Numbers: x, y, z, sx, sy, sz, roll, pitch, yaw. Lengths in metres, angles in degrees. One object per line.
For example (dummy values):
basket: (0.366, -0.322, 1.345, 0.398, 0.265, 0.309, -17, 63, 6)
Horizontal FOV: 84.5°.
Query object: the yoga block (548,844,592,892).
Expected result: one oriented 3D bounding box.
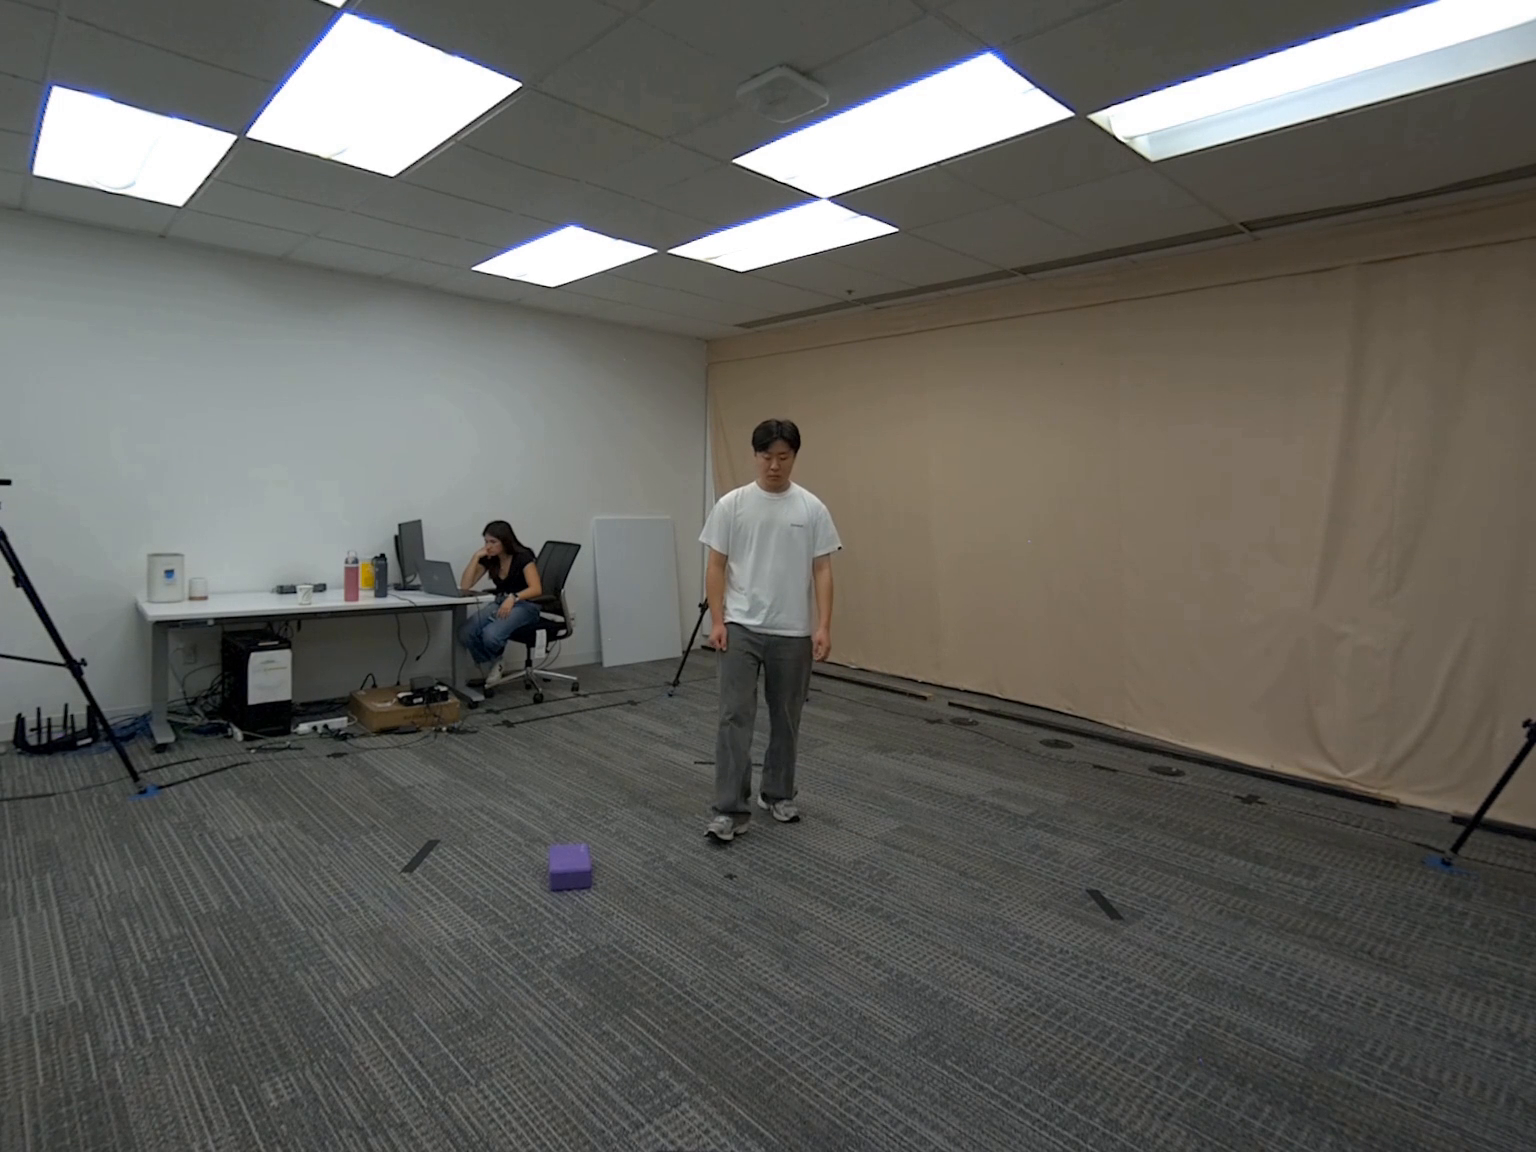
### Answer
yoga block: (-0.731, 1.061, 3.064, 0.147, 0.076, 0.232, 1, 6, -14)
